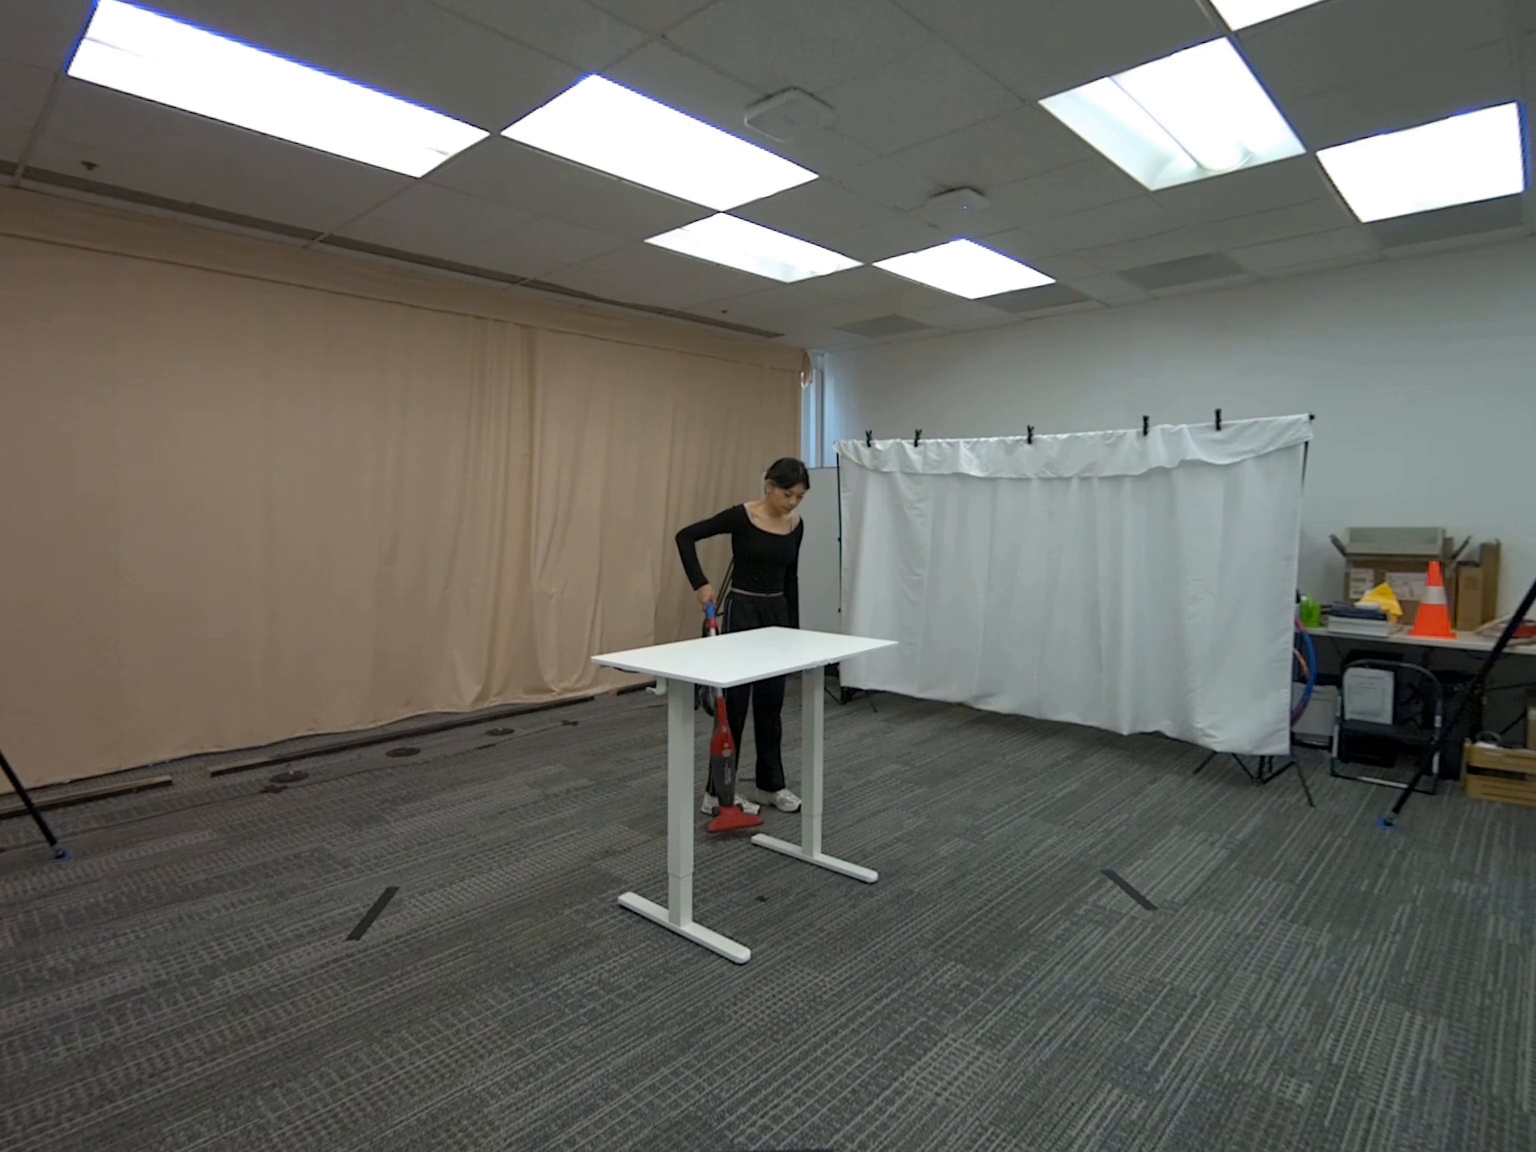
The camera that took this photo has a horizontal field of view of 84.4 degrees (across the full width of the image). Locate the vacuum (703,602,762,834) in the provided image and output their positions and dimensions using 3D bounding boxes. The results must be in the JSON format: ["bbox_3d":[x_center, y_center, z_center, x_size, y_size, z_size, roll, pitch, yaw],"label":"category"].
[{"bbox_3d":[-0.213,0.529,3.672,0.249,1.057,0.145,-4,-11,-13],"label":"vacuum"}]
